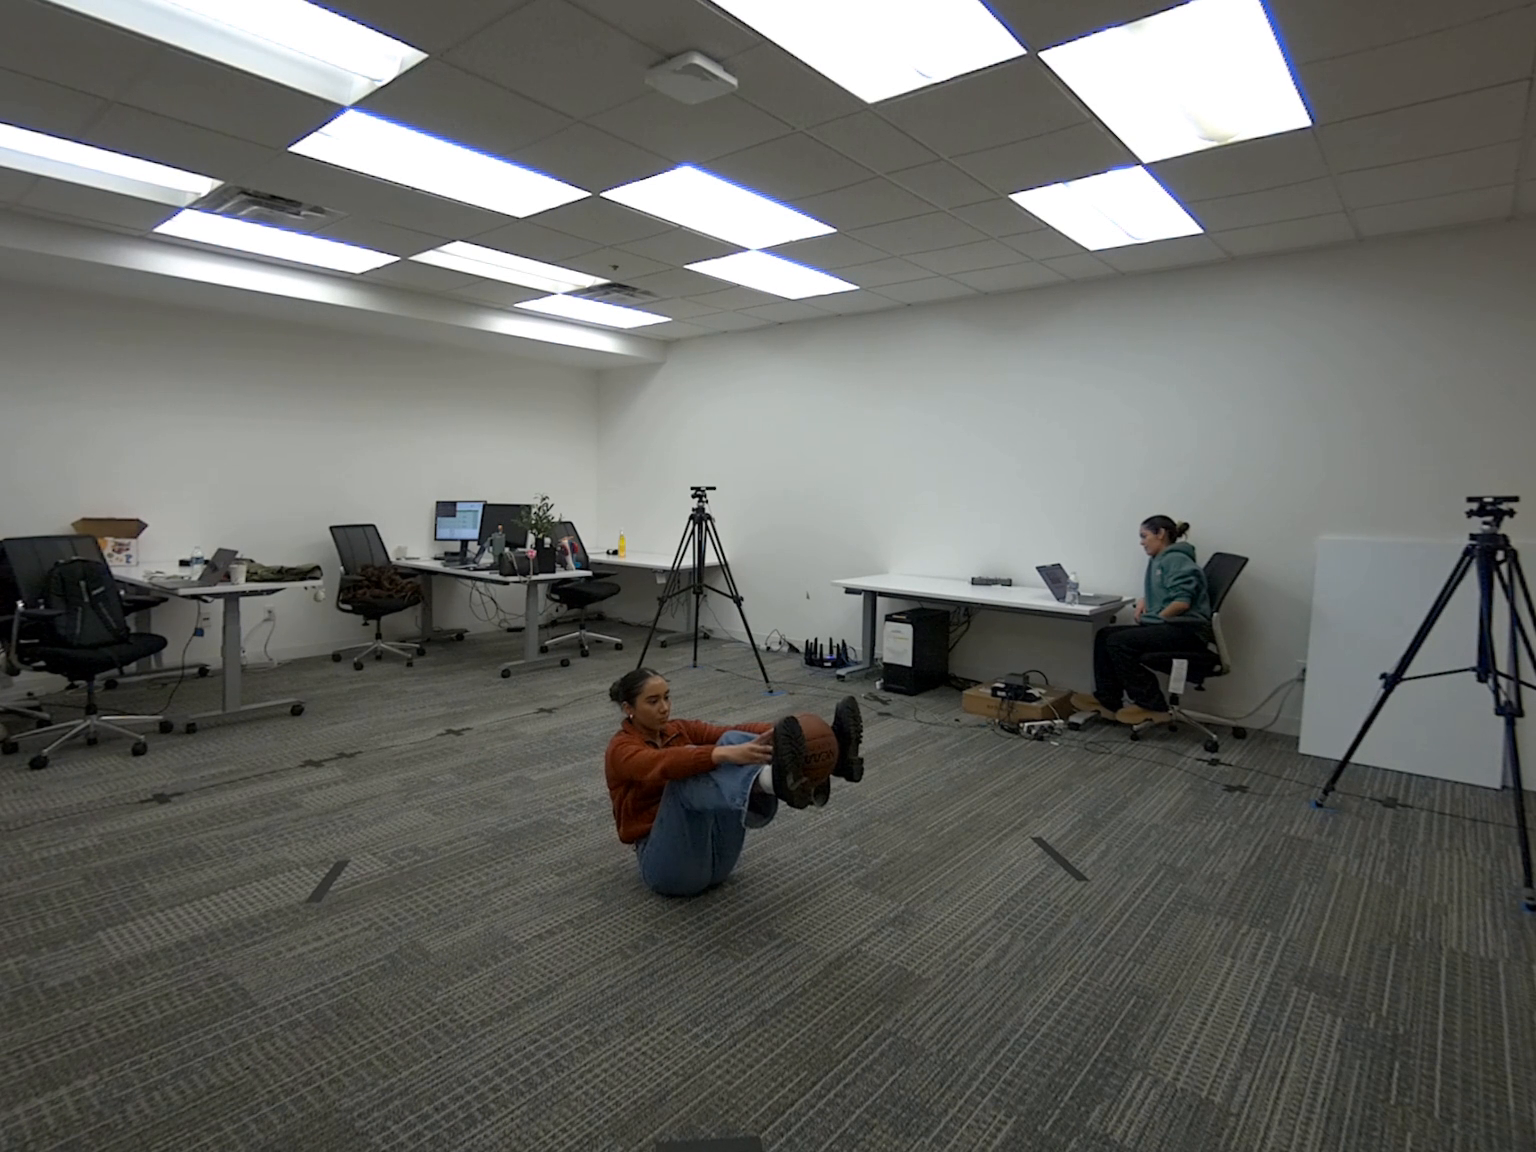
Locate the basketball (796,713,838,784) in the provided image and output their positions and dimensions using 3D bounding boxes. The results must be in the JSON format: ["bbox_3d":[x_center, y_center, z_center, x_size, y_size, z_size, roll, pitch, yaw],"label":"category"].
[{"bbox_3d":[0.094,0.538,2.667,0.236,0.235,0.237,-3,3,-2],"label":"basketball"}]
